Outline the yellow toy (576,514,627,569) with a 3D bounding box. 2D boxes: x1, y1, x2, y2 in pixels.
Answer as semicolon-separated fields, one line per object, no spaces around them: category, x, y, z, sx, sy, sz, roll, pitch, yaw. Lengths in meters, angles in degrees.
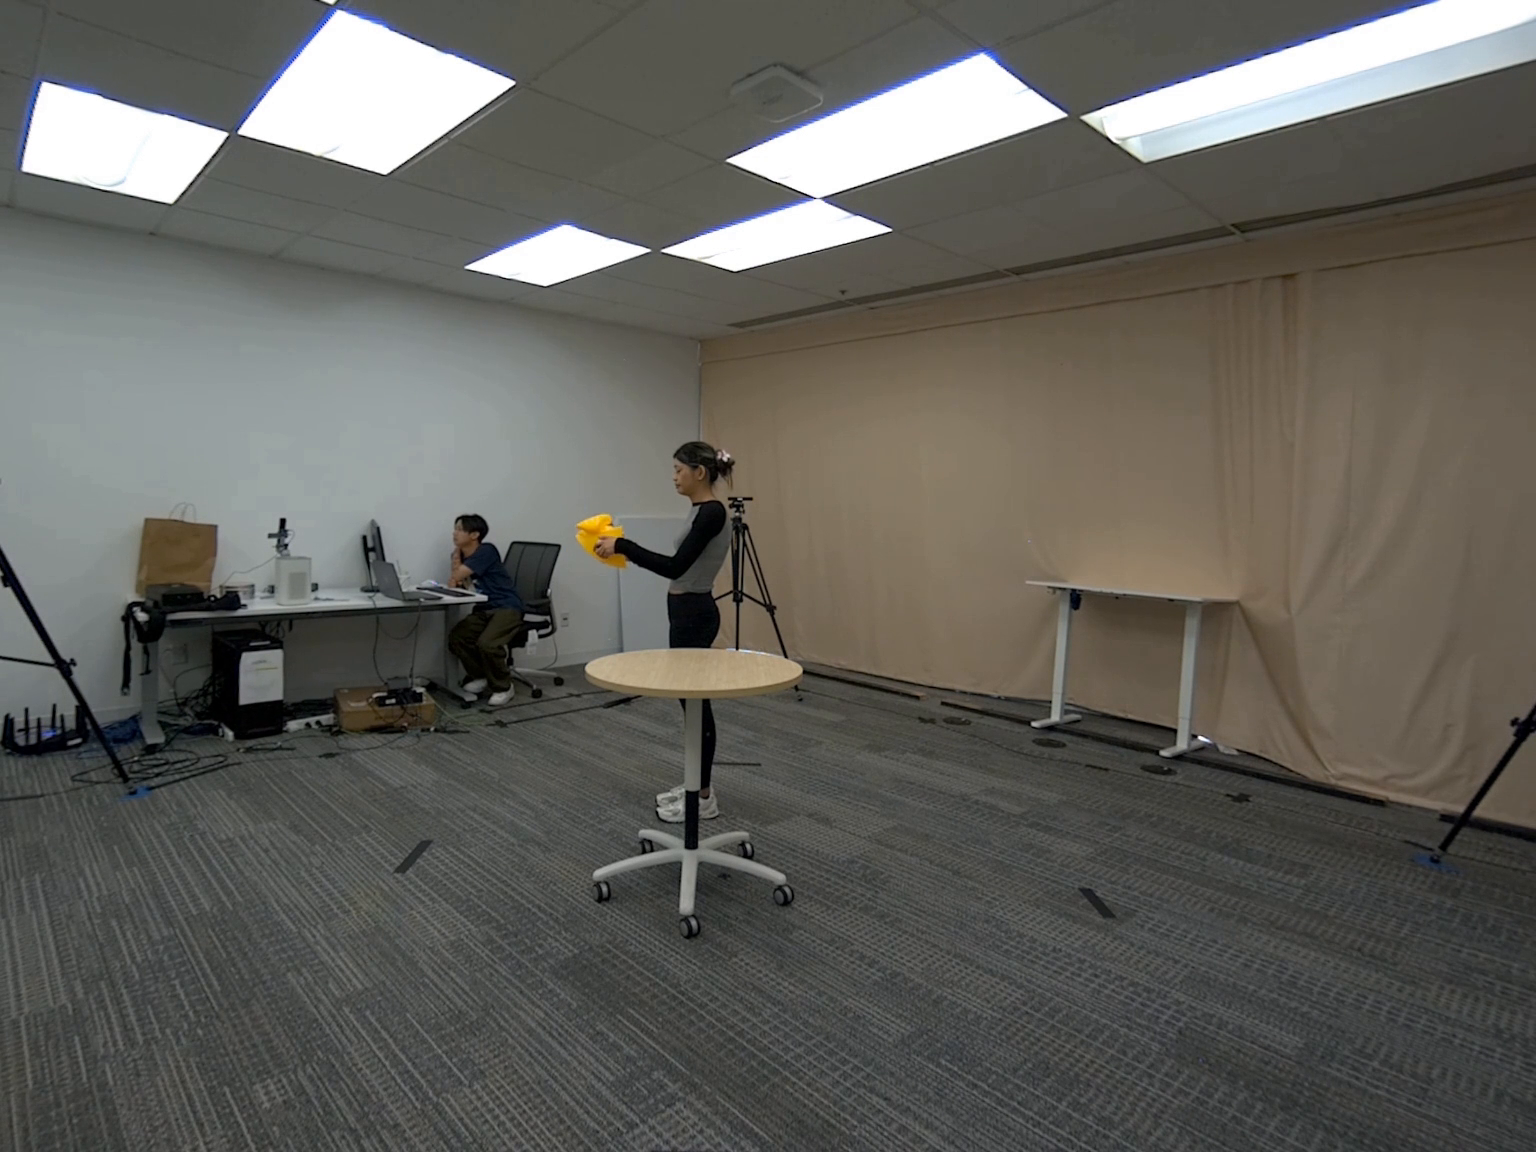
yellow toy;-0.703;-0.117;3.598;0.191;0.233;0.204;-19;-12;-18
